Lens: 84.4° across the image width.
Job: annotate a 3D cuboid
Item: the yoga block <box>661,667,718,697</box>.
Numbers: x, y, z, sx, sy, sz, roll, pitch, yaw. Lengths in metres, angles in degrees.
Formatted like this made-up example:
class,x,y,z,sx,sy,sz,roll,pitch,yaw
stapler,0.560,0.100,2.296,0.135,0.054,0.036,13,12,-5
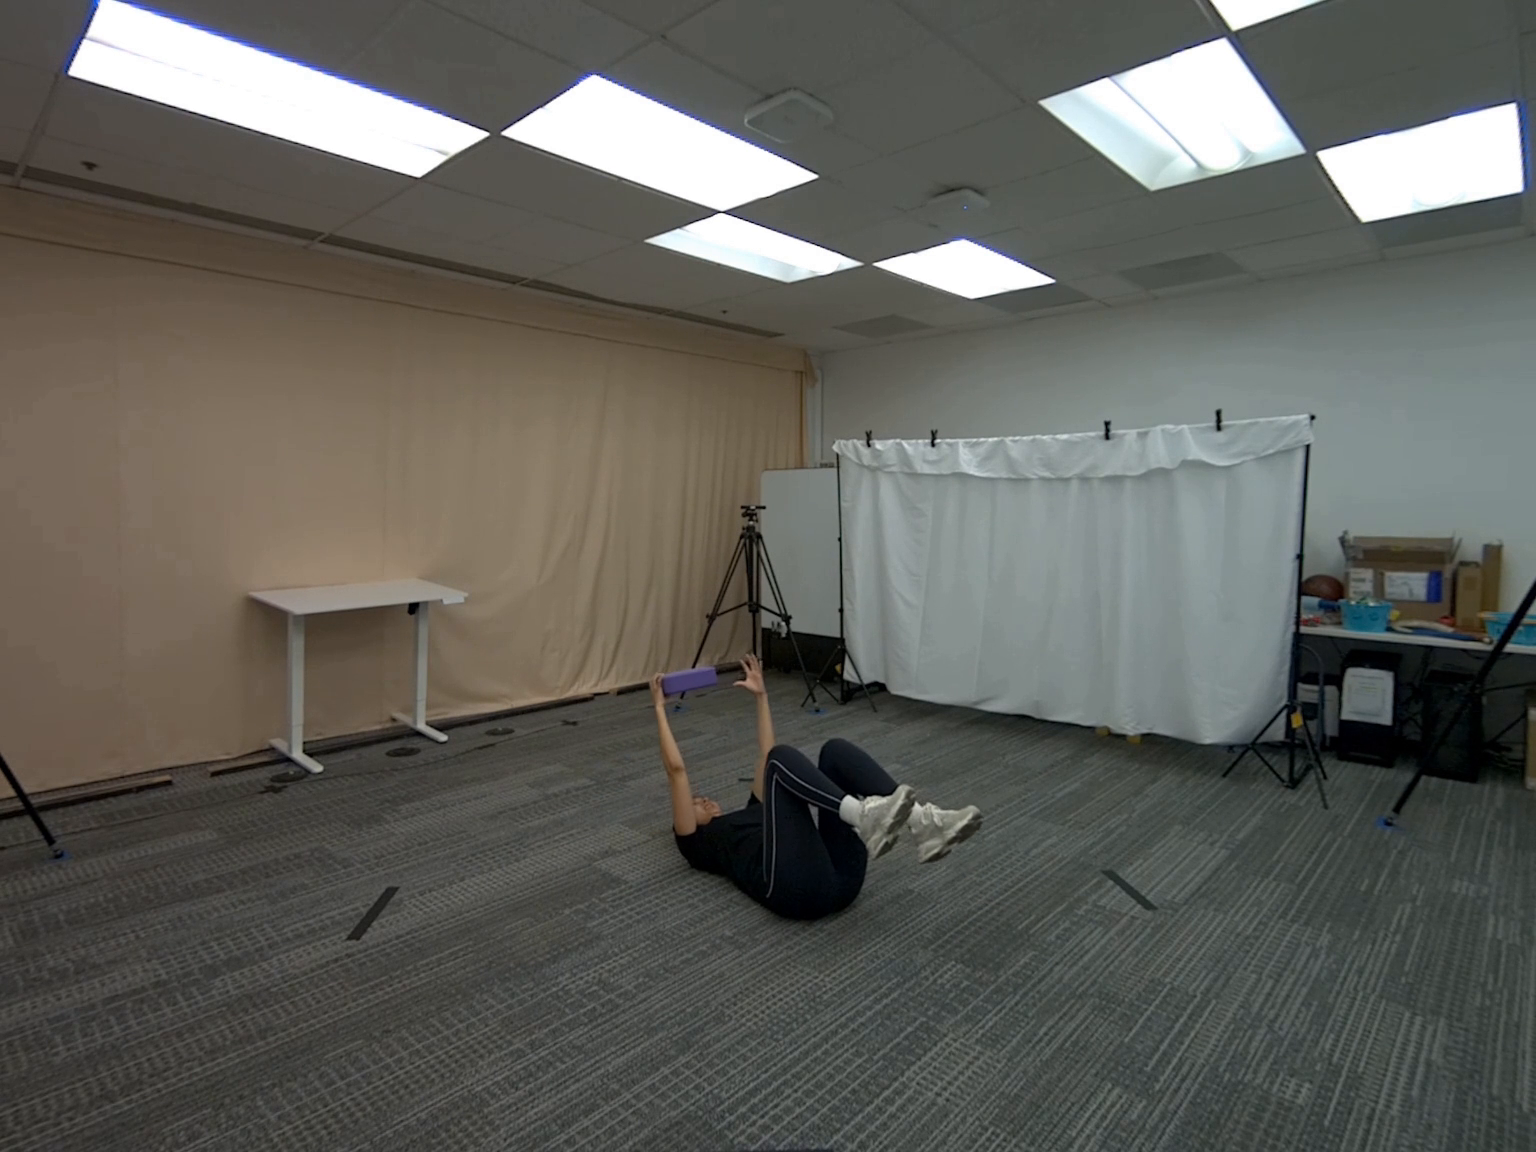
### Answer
class,x,y,z,sx,sy,sz,roll,pitch,yaw
yoga block,-0.344,0.435,3.507,0.223,0.076,0.152,-9,-2,-31
